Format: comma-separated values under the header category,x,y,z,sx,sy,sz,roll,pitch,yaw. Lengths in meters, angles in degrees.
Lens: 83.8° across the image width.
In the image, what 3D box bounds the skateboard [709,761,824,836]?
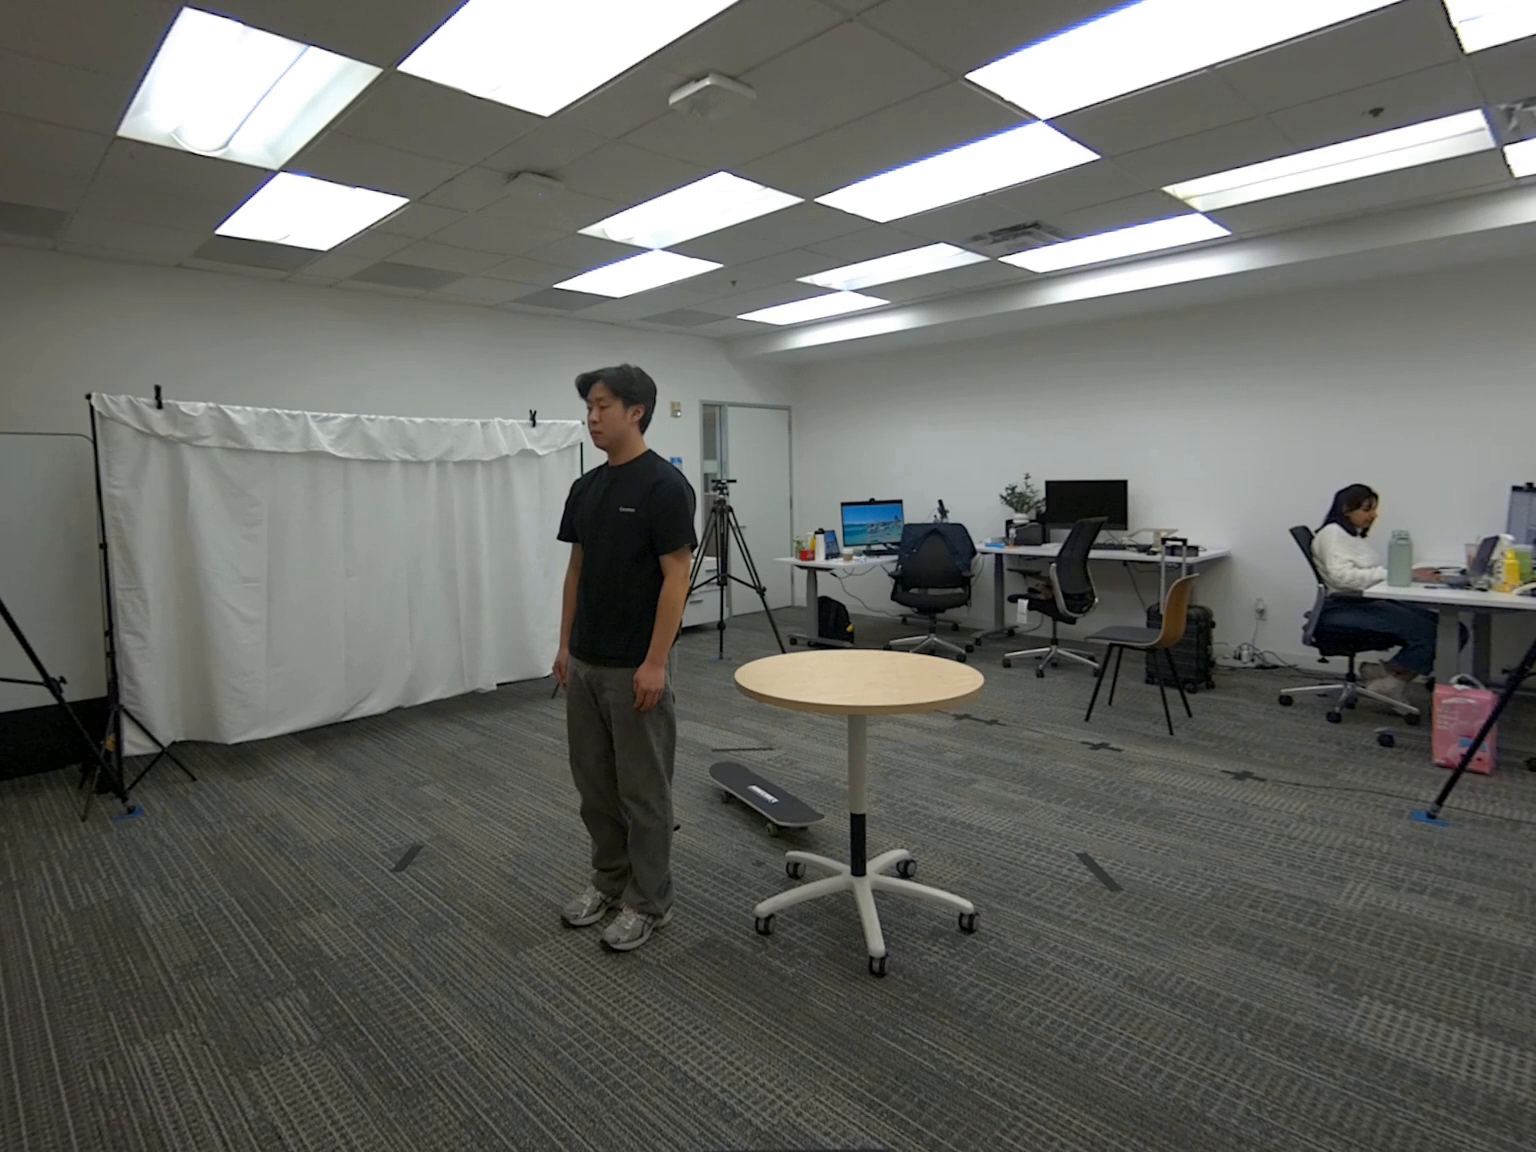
category,x,y,z,sx,sy,sz,roll,pitch,yaw
skateboard,-0.021,0.939,3.560,0.189,0.110,0.807,-3,6,-29
